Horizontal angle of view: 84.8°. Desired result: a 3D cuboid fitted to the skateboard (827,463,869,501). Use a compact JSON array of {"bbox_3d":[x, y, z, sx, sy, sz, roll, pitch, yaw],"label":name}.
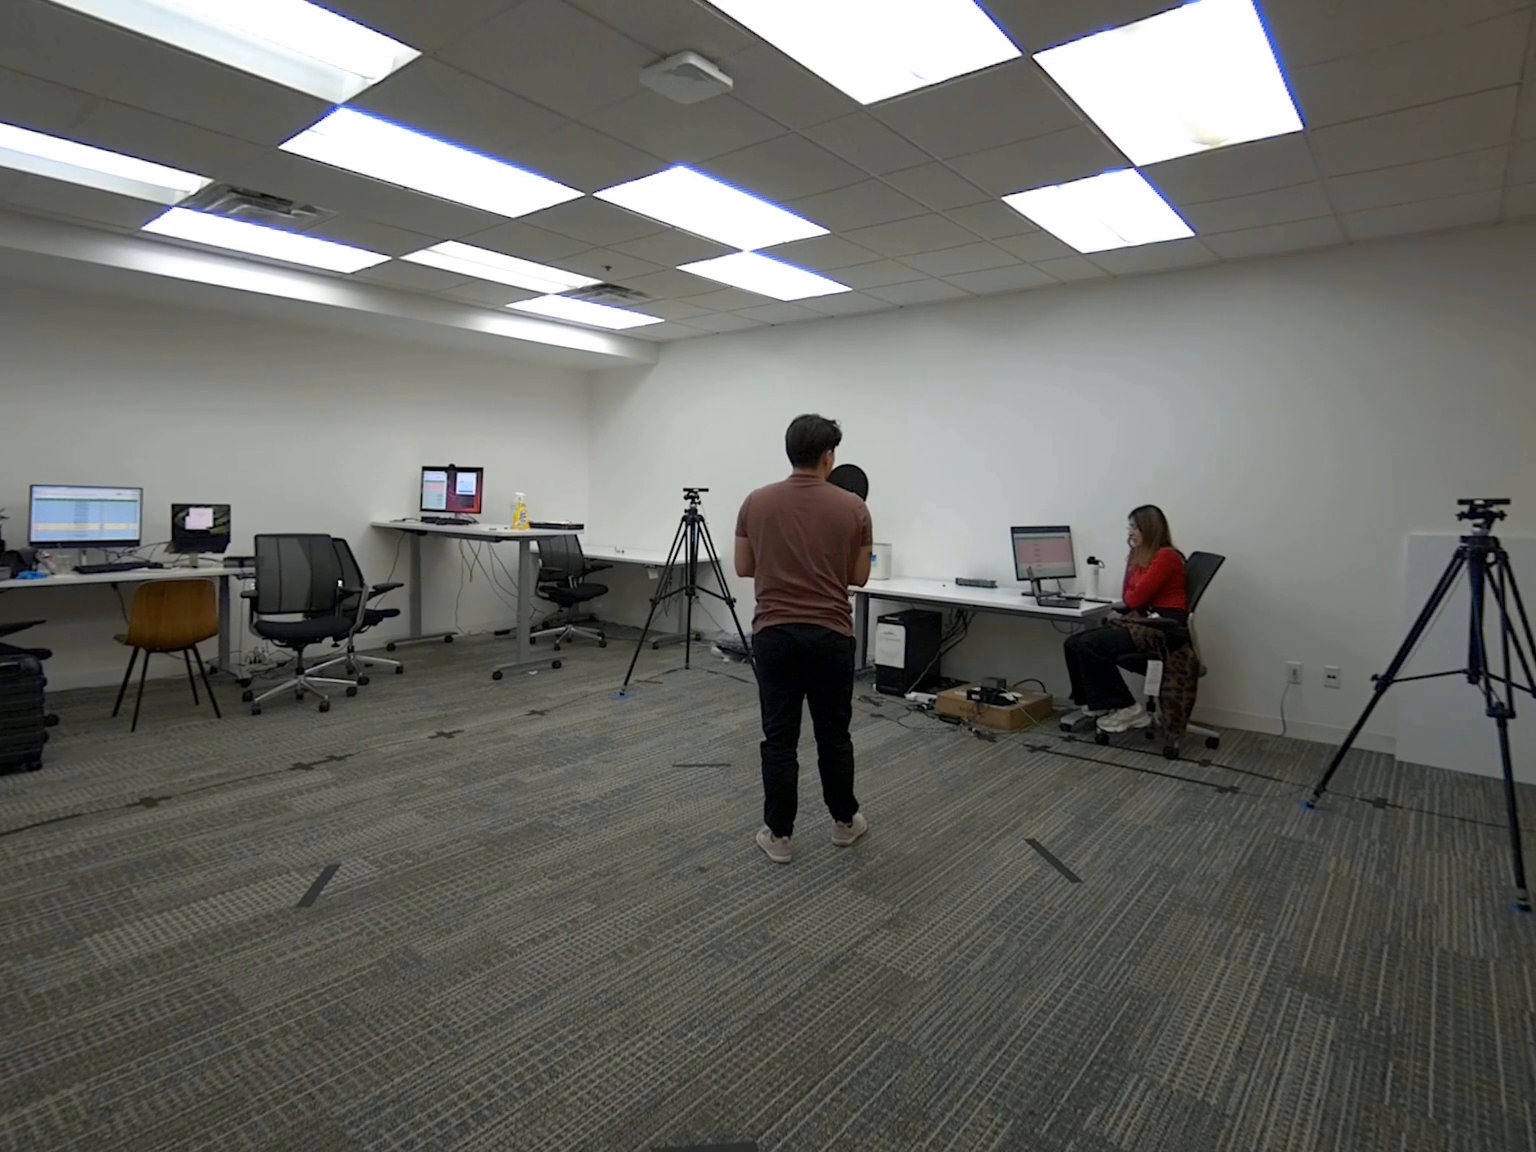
[{"bbox_3d":[0.185,-0.099,3.574,0.196,0.784,0.109,26,3,9],"label":"skateboard"}]
